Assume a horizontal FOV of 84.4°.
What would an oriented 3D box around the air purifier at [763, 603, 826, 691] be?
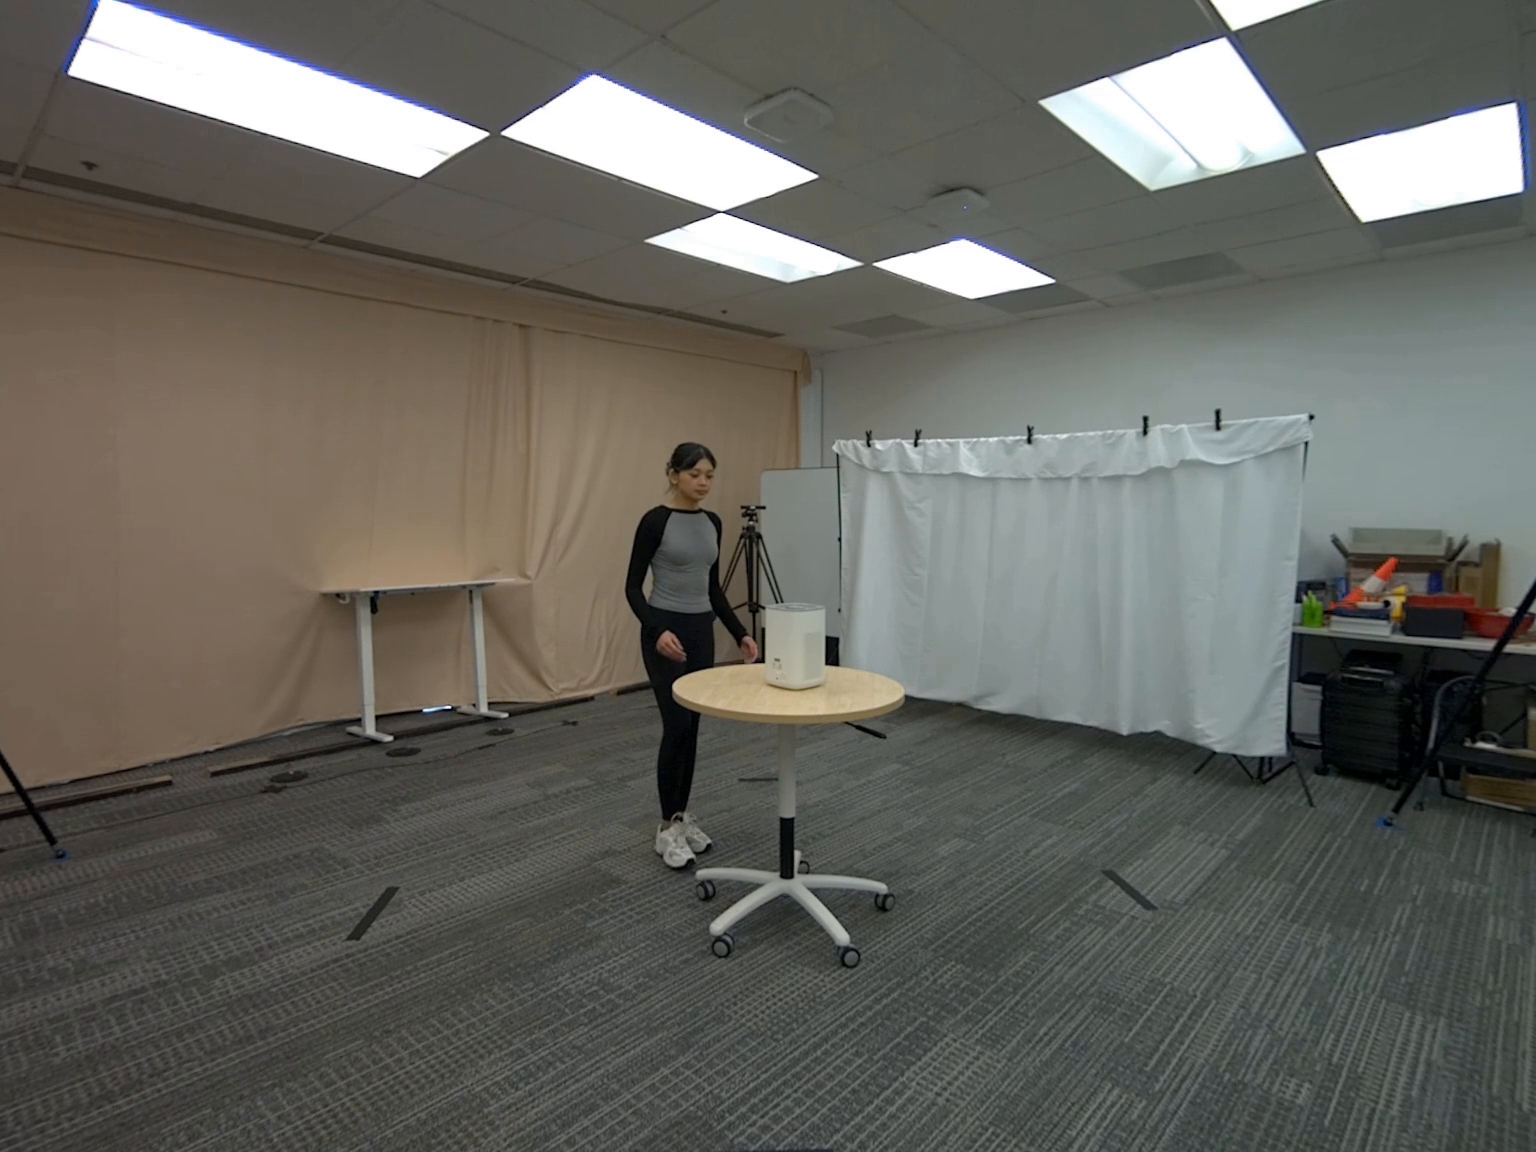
[{"bbox_3d":[0.091,0.230,2.810,0.166,0.265,0.177,-5,5,-44],"label":"air purifier"}]
